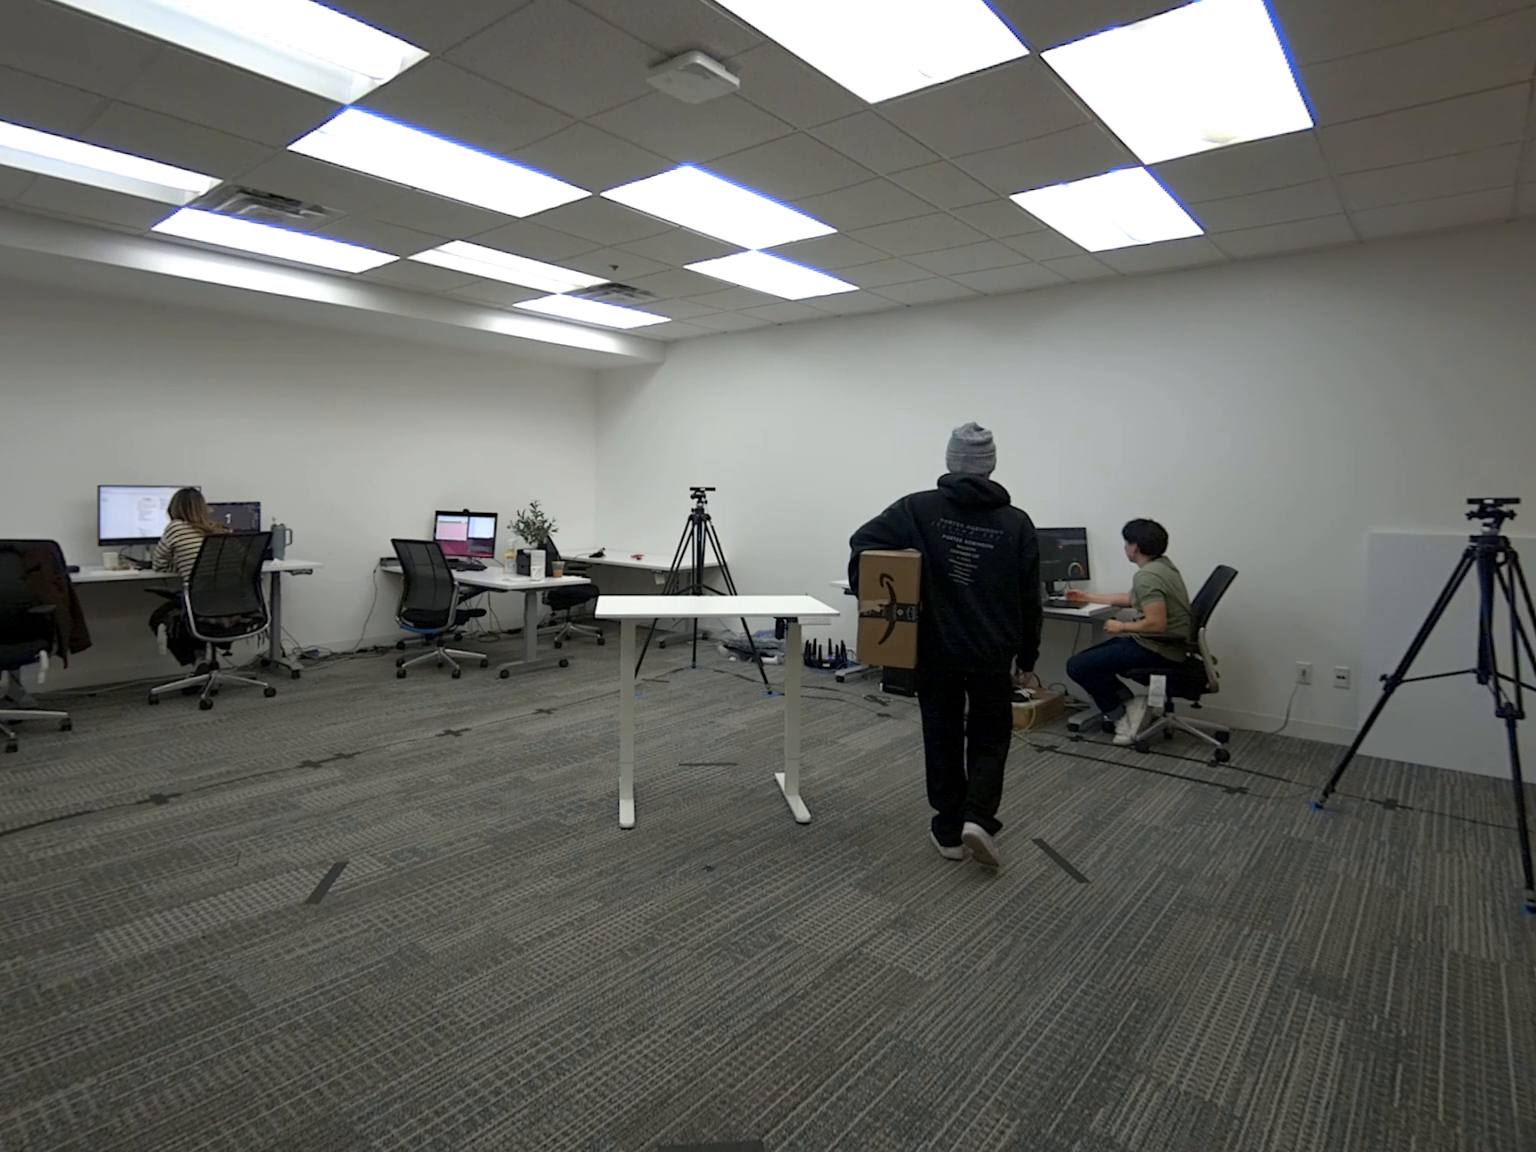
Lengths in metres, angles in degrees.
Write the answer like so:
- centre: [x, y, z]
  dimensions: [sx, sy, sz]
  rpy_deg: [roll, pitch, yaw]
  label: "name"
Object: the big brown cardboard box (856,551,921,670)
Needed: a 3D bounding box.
- centre: [0.501, 0.091, 3.394]
  dimensions: [0.237, 0.416, 0.582]
  rpy_deg: [3, 6, 13]
  label: "big brown cardboard box"
